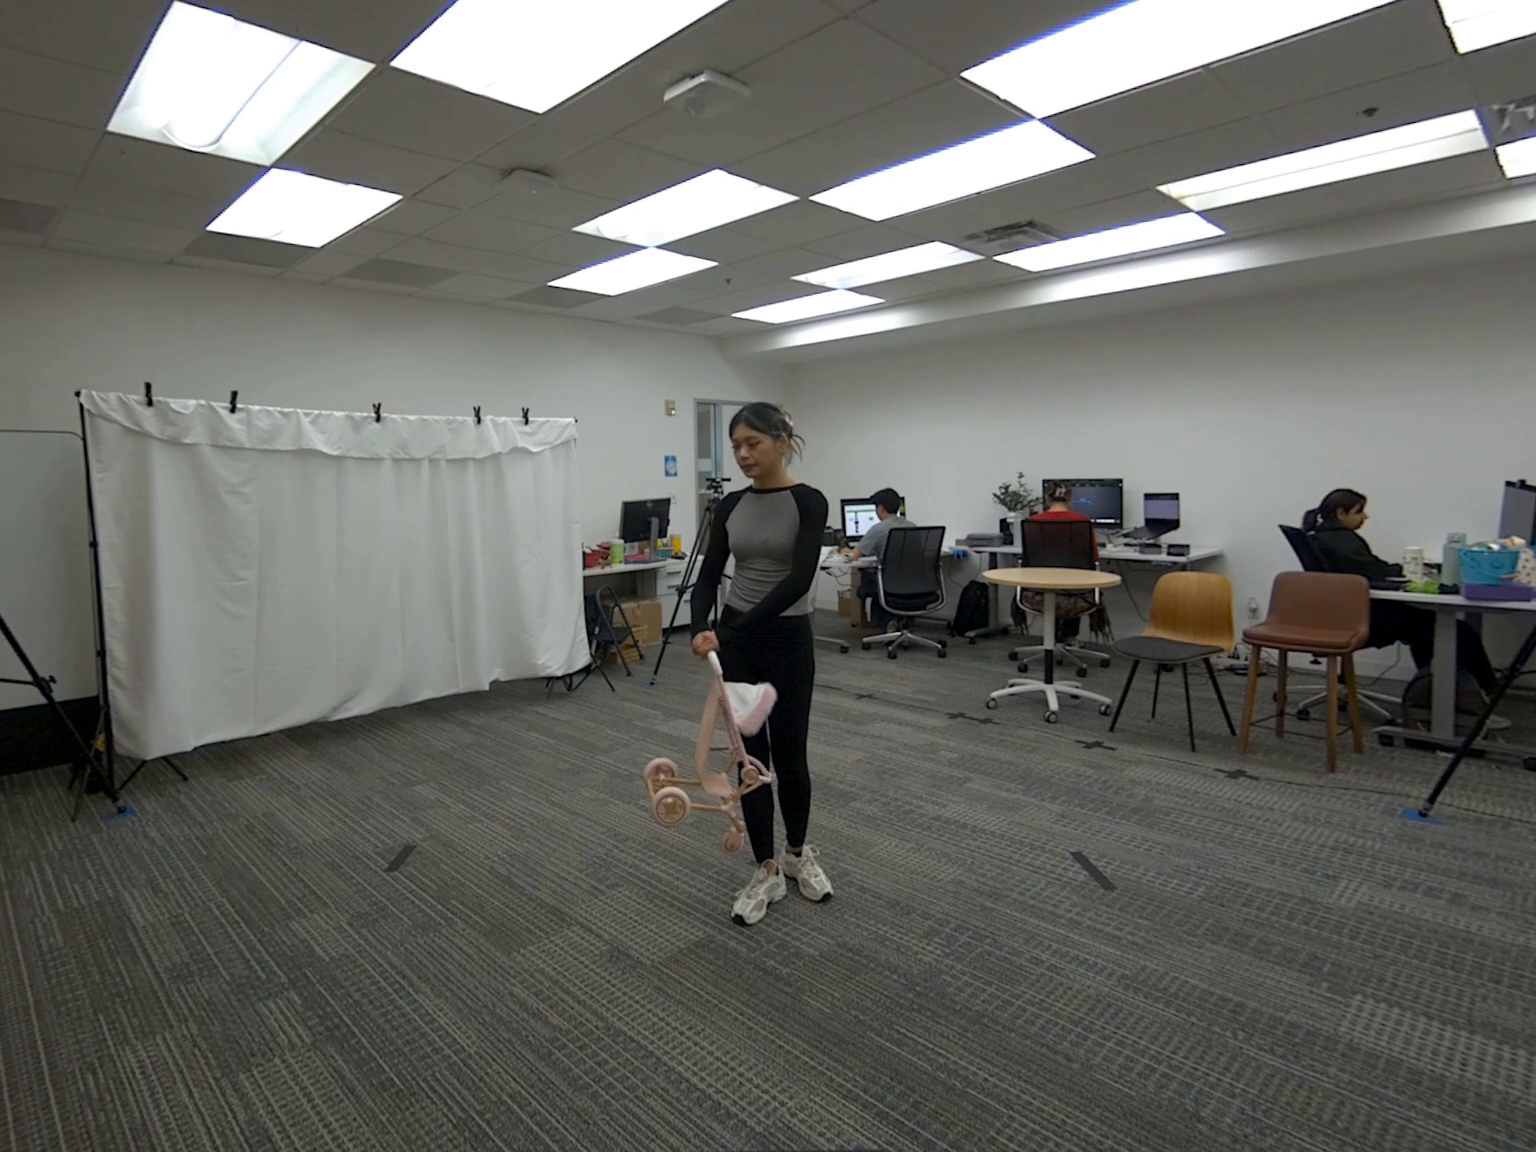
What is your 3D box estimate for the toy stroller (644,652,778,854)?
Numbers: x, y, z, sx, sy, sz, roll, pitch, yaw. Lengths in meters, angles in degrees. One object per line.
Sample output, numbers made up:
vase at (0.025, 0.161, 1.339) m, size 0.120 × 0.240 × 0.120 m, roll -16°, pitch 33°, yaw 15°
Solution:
toy stroller at (-0.112, 0.507, 2.457) m, size 0.339 × 0.536 × 0.283 m, roll 21°, pitch -3°, yaw -7°
